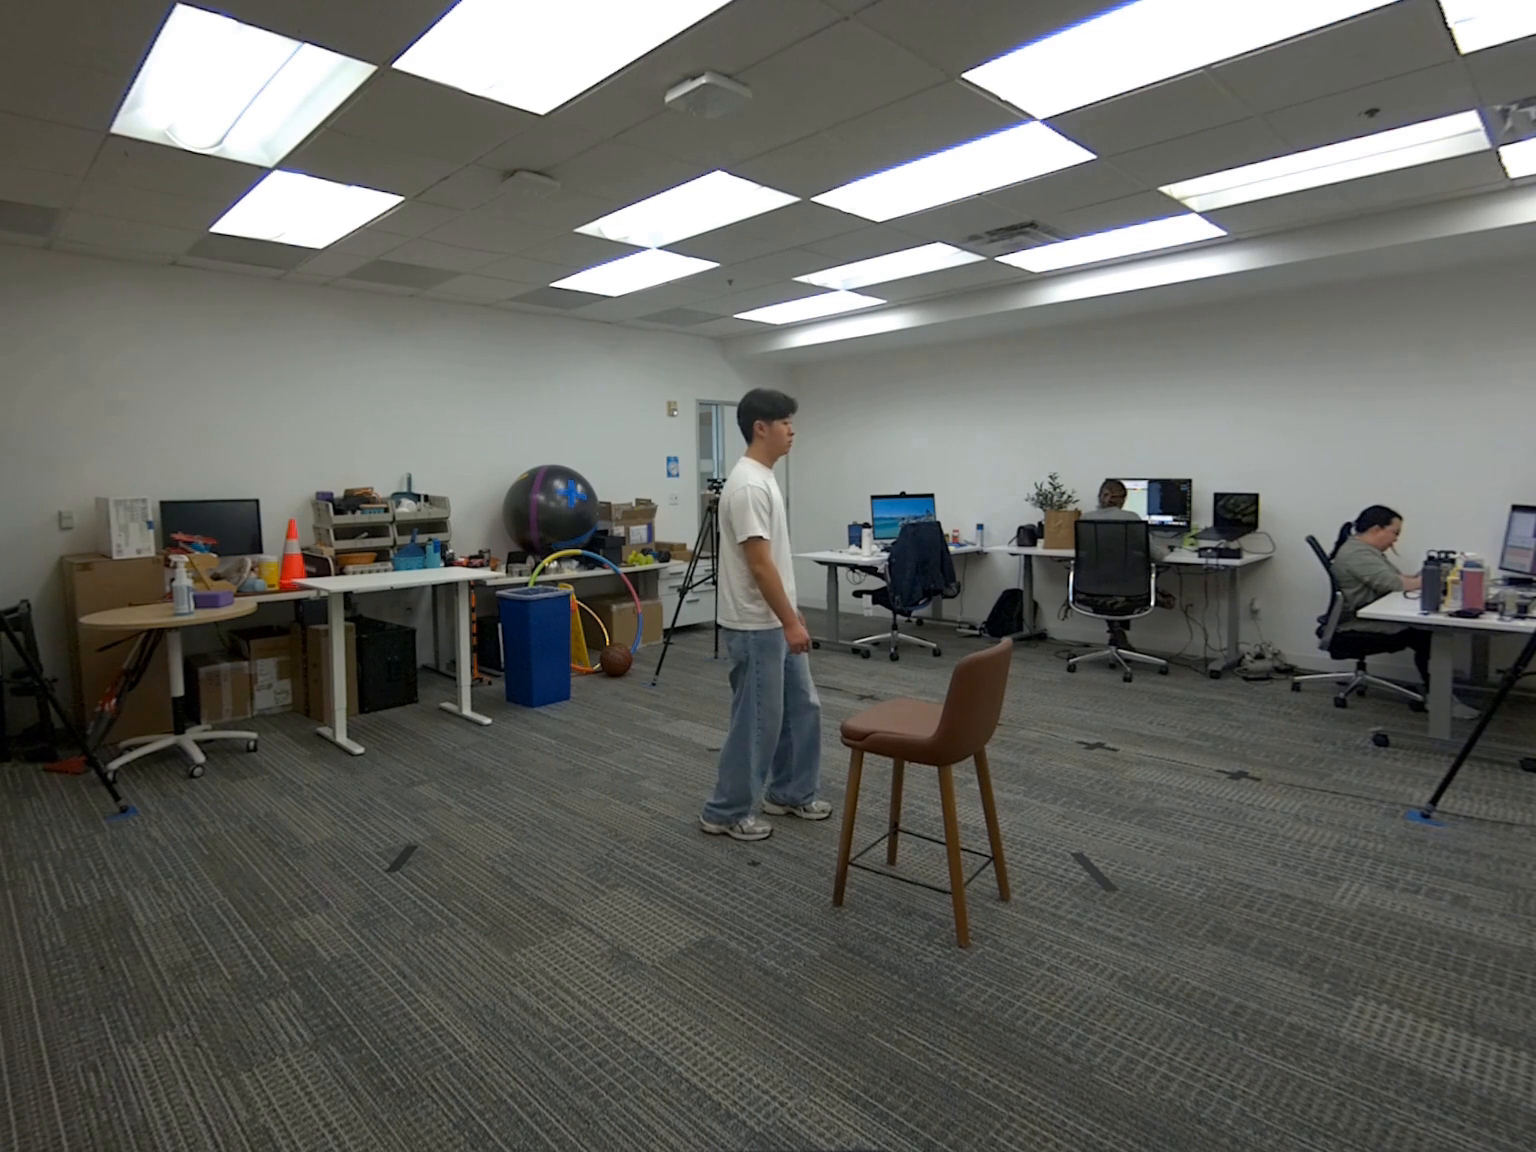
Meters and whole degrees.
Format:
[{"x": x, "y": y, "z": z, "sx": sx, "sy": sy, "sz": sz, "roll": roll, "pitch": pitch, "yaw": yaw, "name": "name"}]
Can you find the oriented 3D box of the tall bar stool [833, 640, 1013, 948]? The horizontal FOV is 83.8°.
[{"x": 0.515, "y": 0.640, "z": 2.773, "sx": 0.482, "sy": 0.885, "sz": 0.445, "roll": 5, "pitch": 7, "yaw": 37, "name": "tall bar stool"}]
